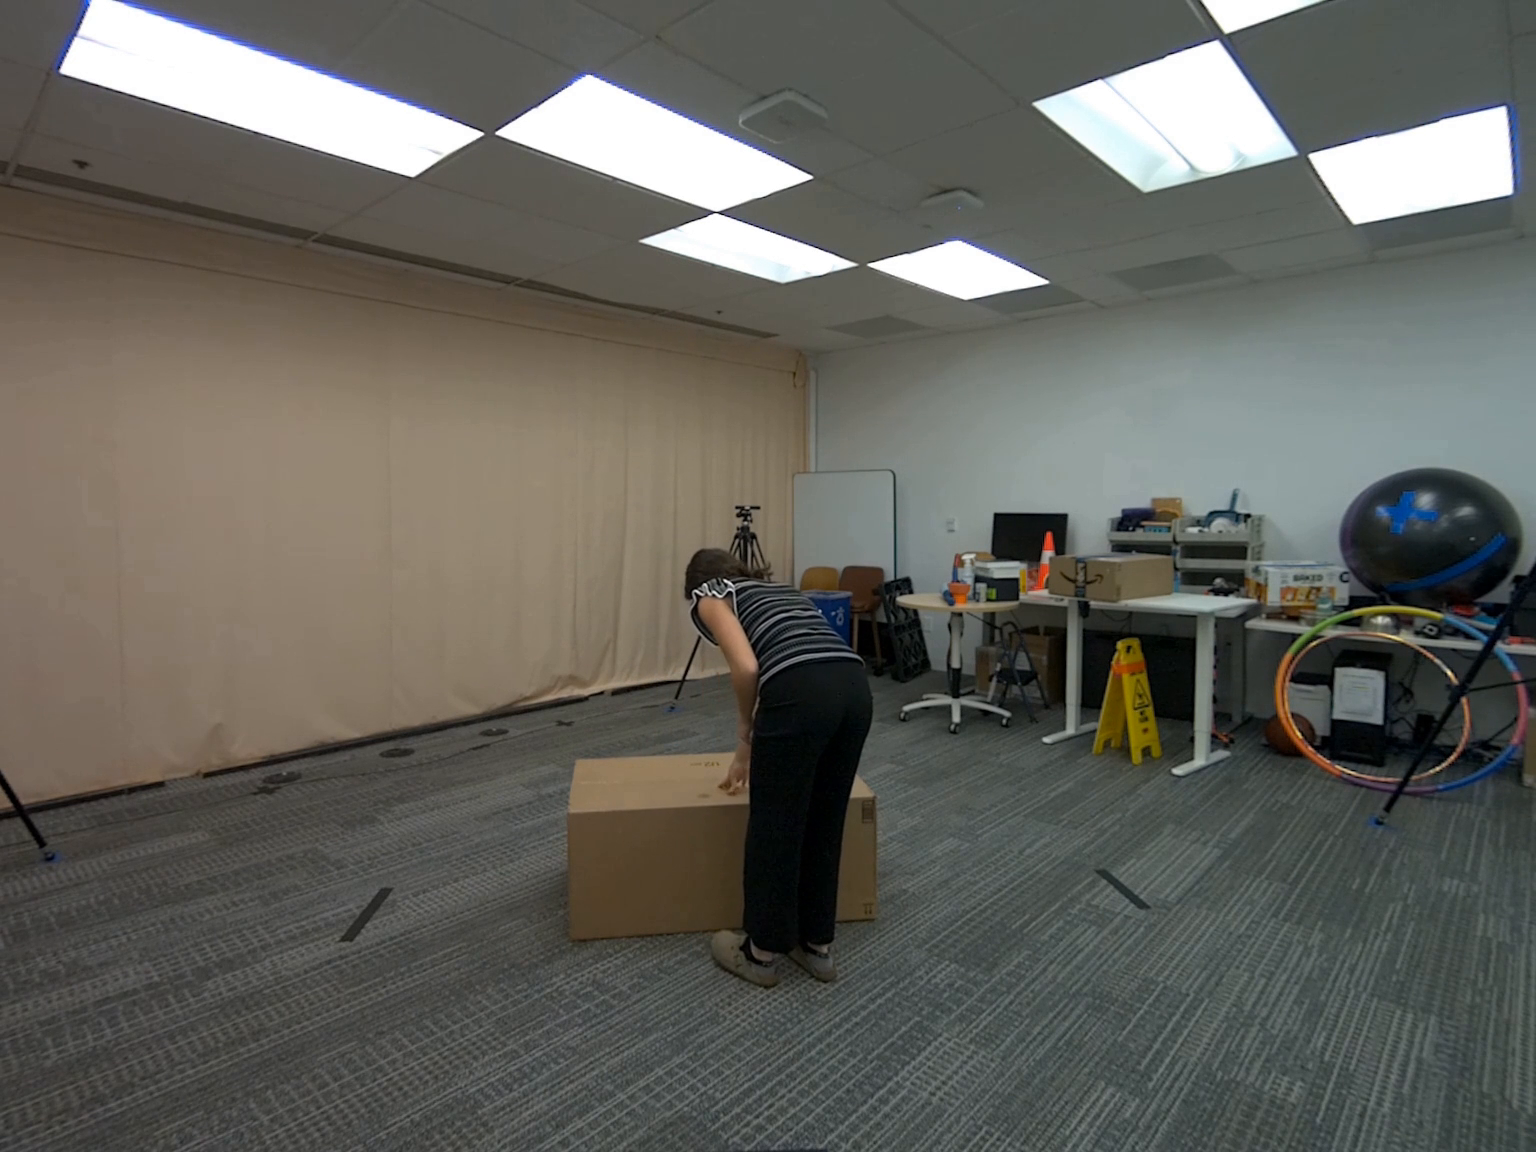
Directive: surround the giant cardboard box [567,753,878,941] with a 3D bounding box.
[{"bbox_3d":[-0.188,0.931,3.035,1.018,0.425,0.584,-1,4,-8],"label":"giant cardboard box"}]
